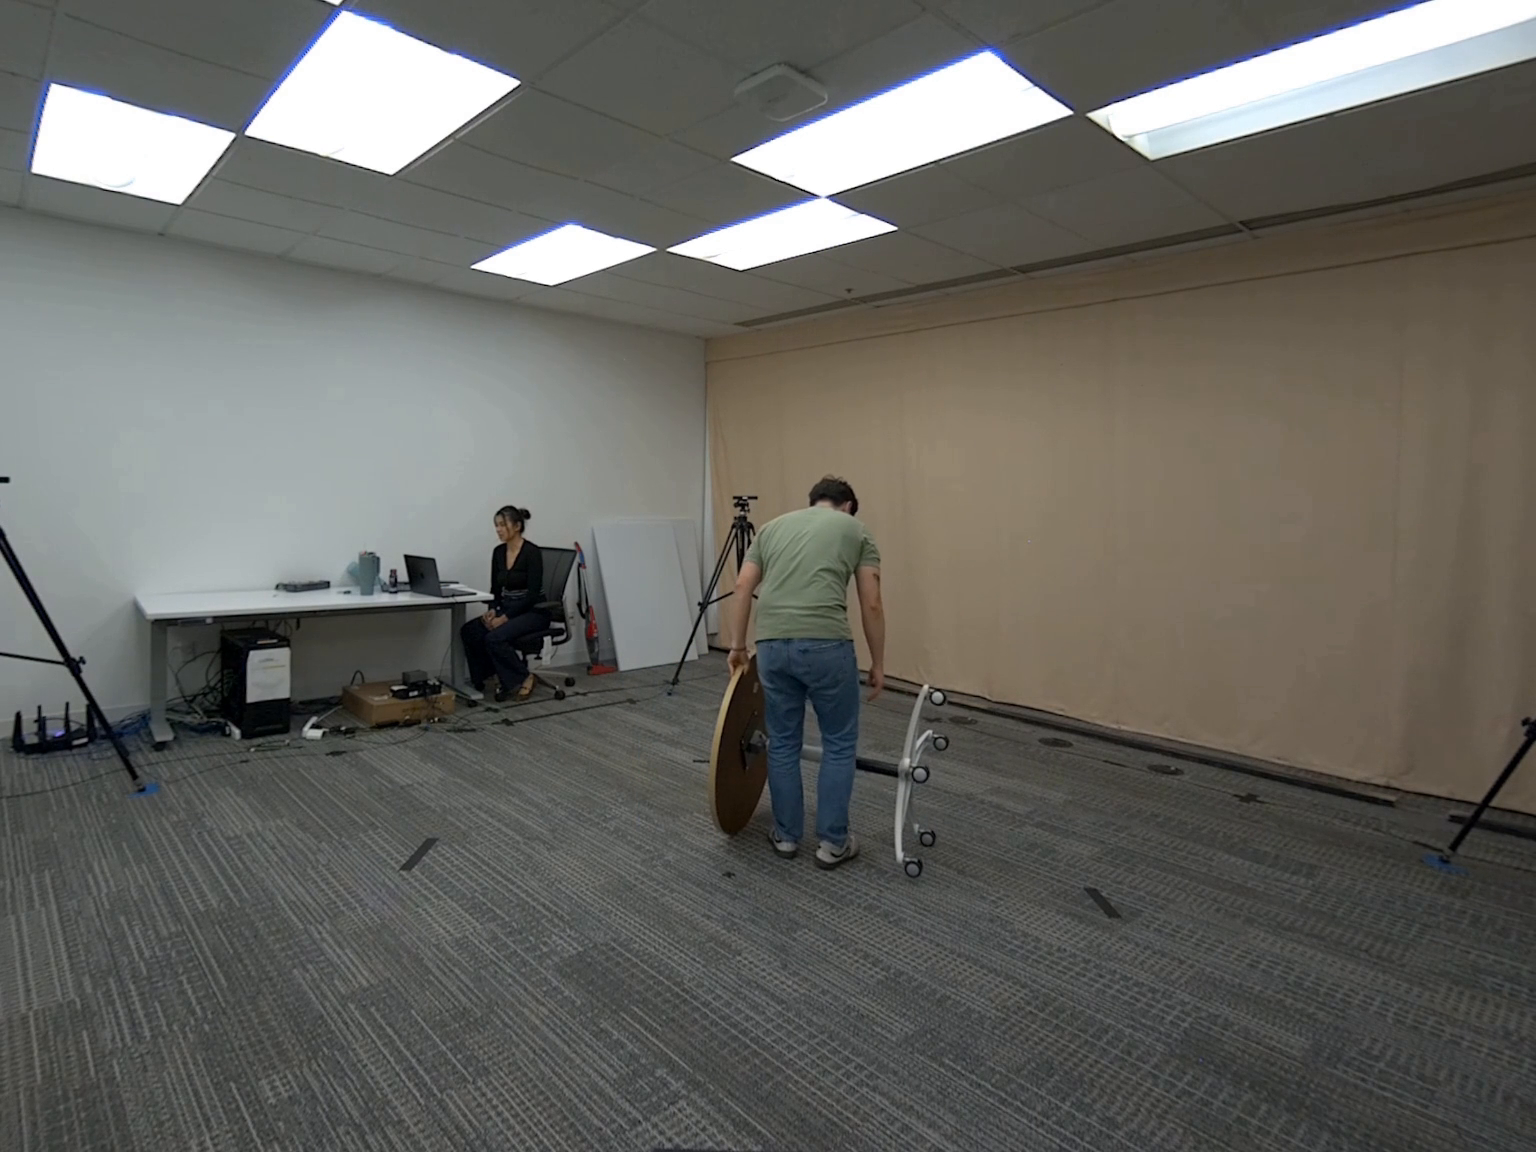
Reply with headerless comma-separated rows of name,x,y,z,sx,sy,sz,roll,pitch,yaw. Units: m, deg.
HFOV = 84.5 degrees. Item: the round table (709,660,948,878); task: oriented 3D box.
round table,0.272,0.738,3.387,0.807,0.761,0.754,8,6,19
